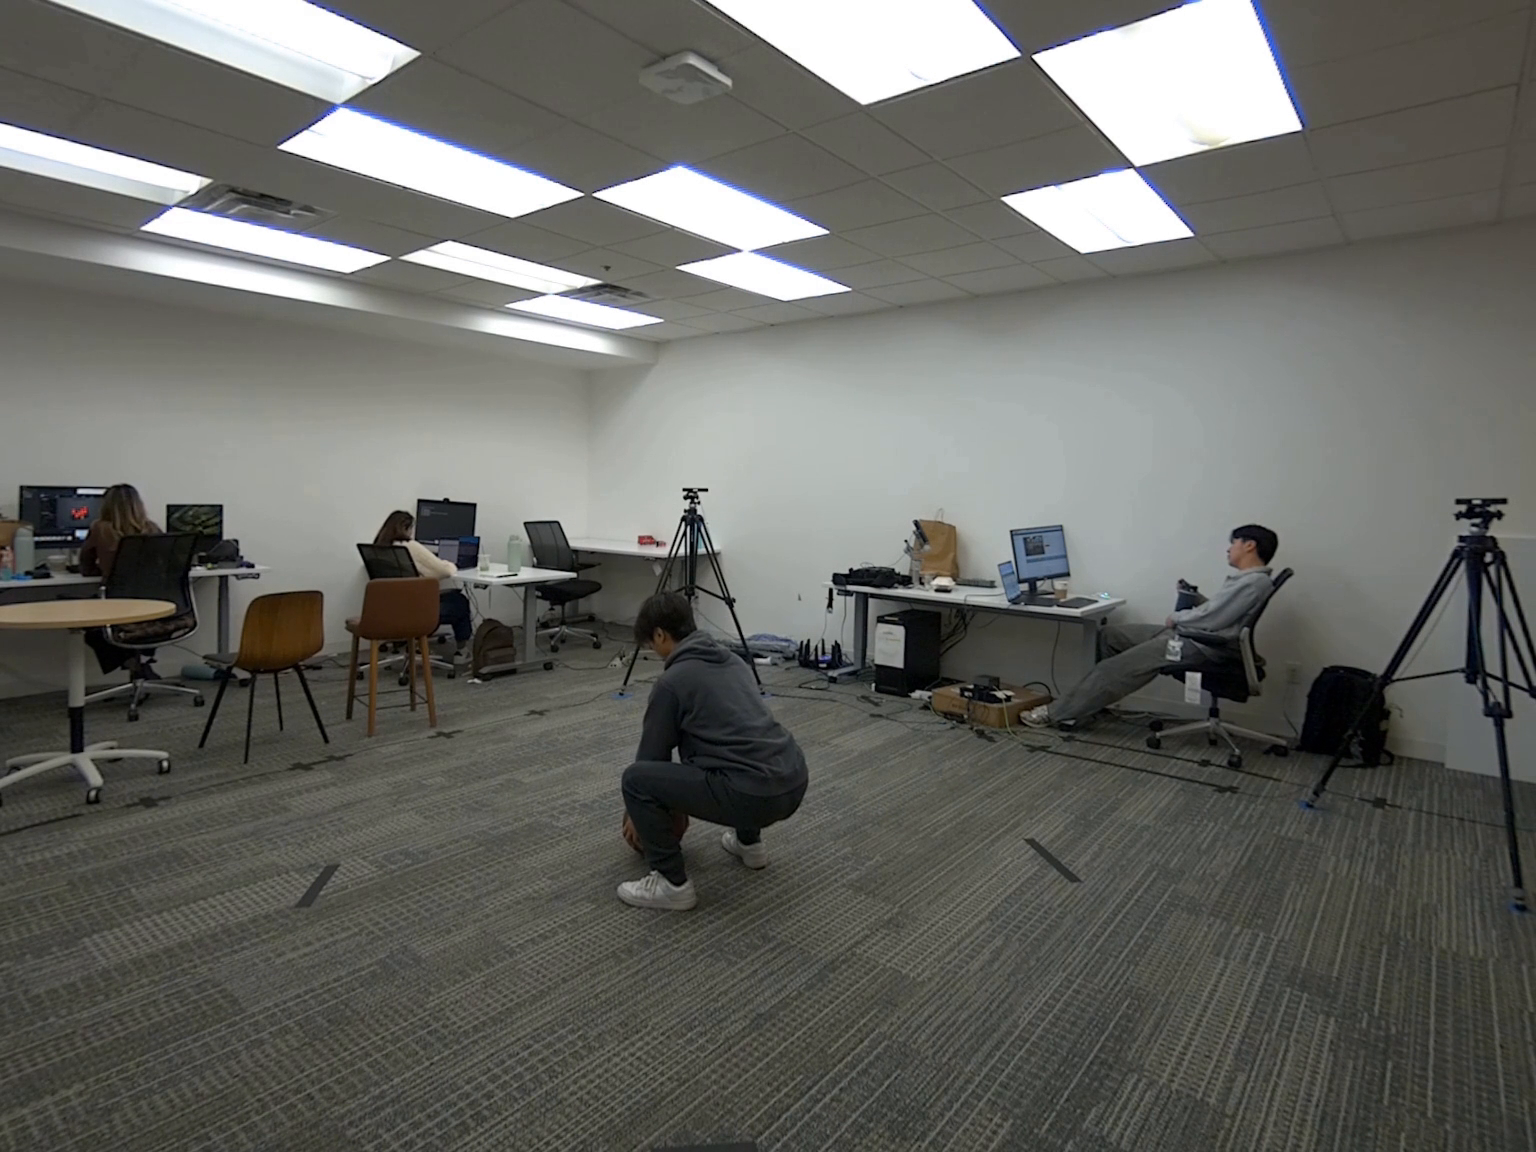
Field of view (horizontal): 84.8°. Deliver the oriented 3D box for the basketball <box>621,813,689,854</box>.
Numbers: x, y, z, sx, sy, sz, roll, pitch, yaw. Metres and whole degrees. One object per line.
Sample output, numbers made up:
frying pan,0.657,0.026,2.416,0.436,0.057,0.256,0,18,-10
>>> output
basketball,-0.440,0.925,3.228,0.235,0.235,0.237,1,4,-2
